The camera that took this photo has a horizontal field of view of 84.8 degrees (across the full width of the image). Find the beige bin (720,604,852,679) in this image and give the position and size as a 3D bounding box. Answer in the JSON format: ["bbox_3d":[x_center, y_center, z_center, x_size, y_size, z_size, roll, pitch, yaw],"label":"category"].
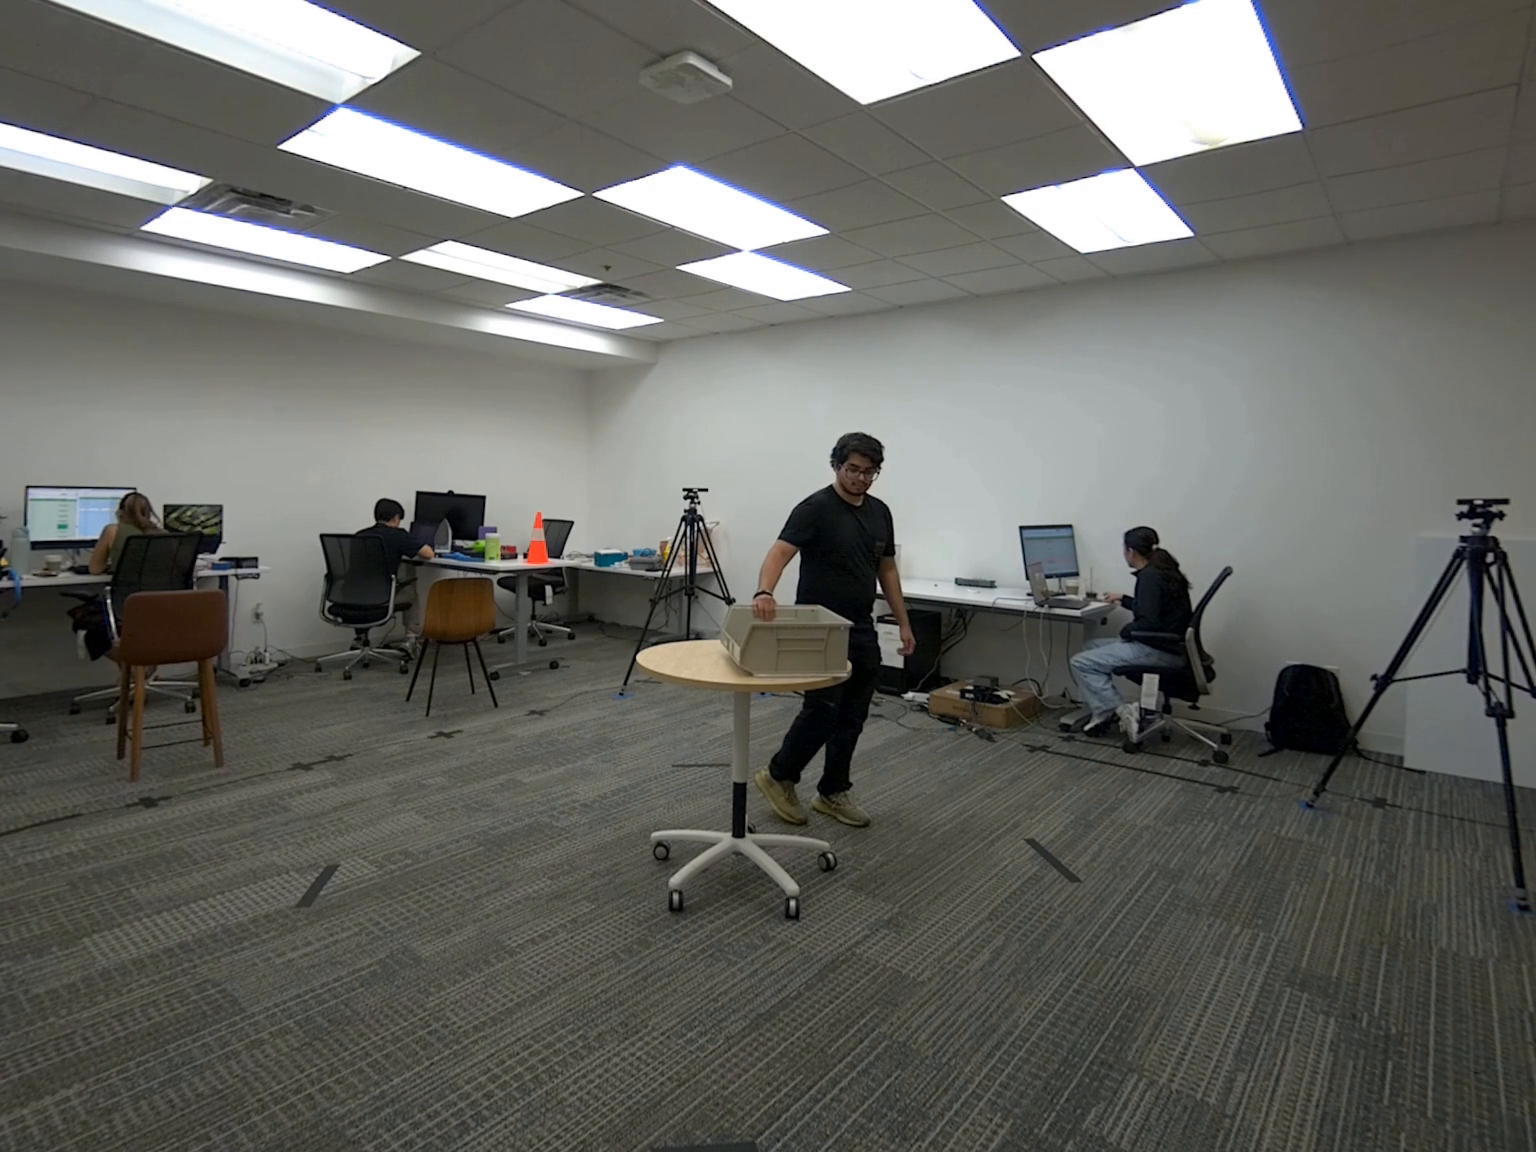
[{"bbox_3d":[0.035,0.215,2.961,0.373,0.188,0.428,2,4,-11],"label":"beige bin"}]
